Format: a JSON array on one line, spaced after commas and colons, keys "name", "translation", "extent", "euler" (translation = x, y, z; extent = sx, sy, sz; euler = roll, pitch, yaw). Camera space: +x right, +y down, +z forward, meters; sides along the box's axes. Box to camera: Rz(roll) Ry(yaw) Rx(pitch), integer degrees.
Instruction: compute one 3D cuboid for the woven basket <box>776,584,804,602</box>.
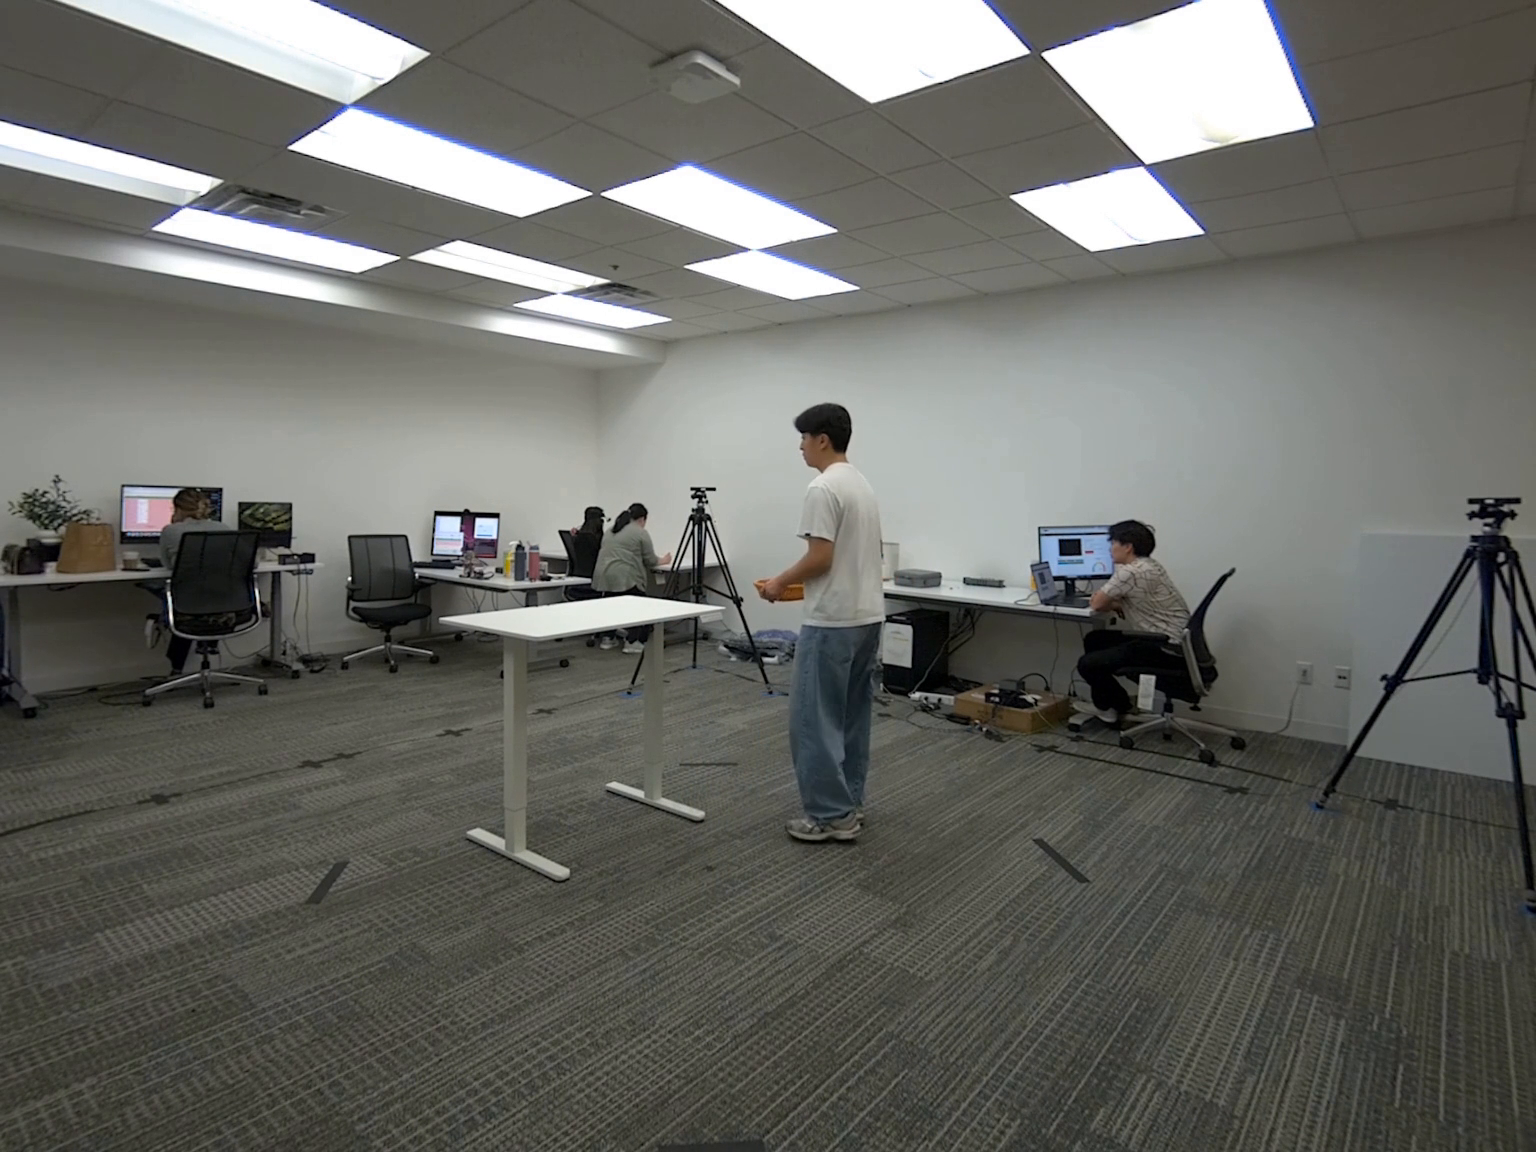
[{"name": "woven basket", "translation": [0.122, 0.053, 3.731], "extent": [0.347, 0.073, 0.256], "euler": [1, 7, -10]}]
